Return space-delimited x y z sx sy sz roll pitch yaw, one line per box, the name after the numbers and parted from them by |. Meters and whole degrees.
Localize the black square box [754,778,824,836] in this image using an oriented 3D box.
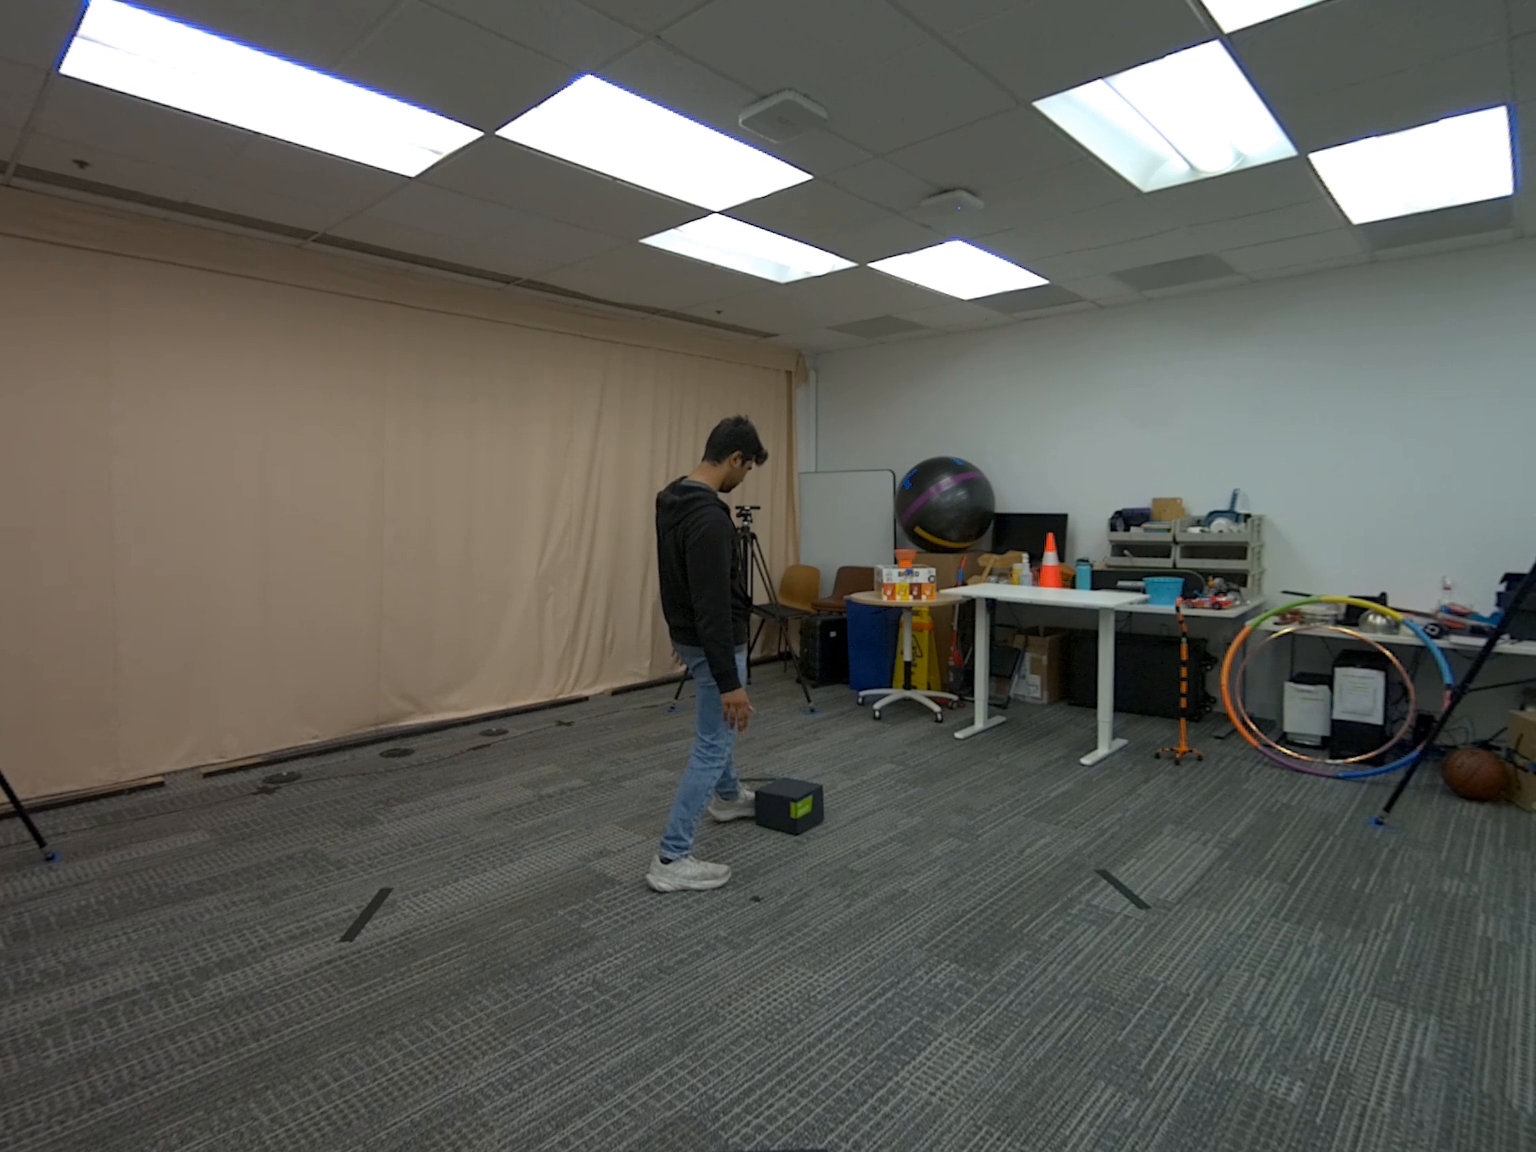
0.114 1.003 3.665 0.224 0.155 0.221 2 4 34 | black square box
